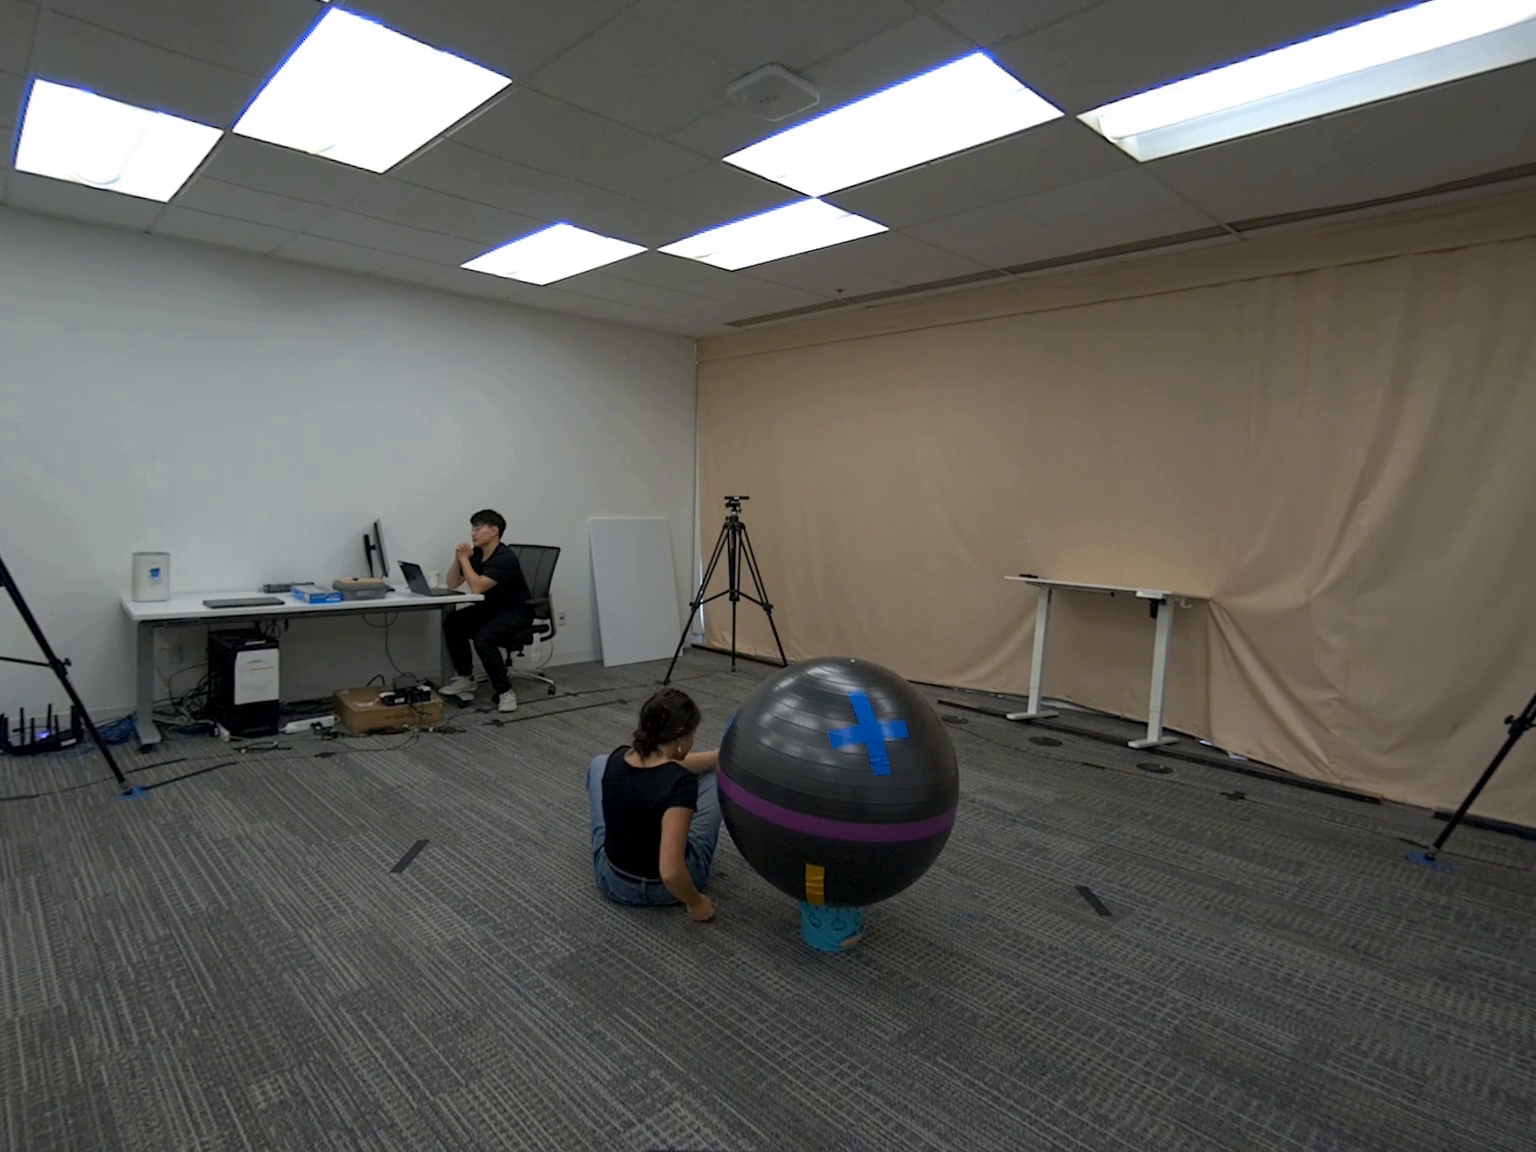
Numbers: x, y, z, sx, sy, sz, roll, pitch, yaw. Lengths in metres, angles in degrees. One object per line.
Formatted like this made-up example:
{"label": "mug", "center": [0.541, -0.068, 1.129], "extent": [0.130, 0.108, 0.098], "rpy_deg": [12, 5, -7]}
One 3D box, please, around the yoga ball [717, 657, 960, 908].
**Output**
{"label": "yoga ball", "center": [0.217, 0.642, 2.656], "extent": [0.757, 0.756, 0.761], "rpy_deg": [1, 4, -1]}
